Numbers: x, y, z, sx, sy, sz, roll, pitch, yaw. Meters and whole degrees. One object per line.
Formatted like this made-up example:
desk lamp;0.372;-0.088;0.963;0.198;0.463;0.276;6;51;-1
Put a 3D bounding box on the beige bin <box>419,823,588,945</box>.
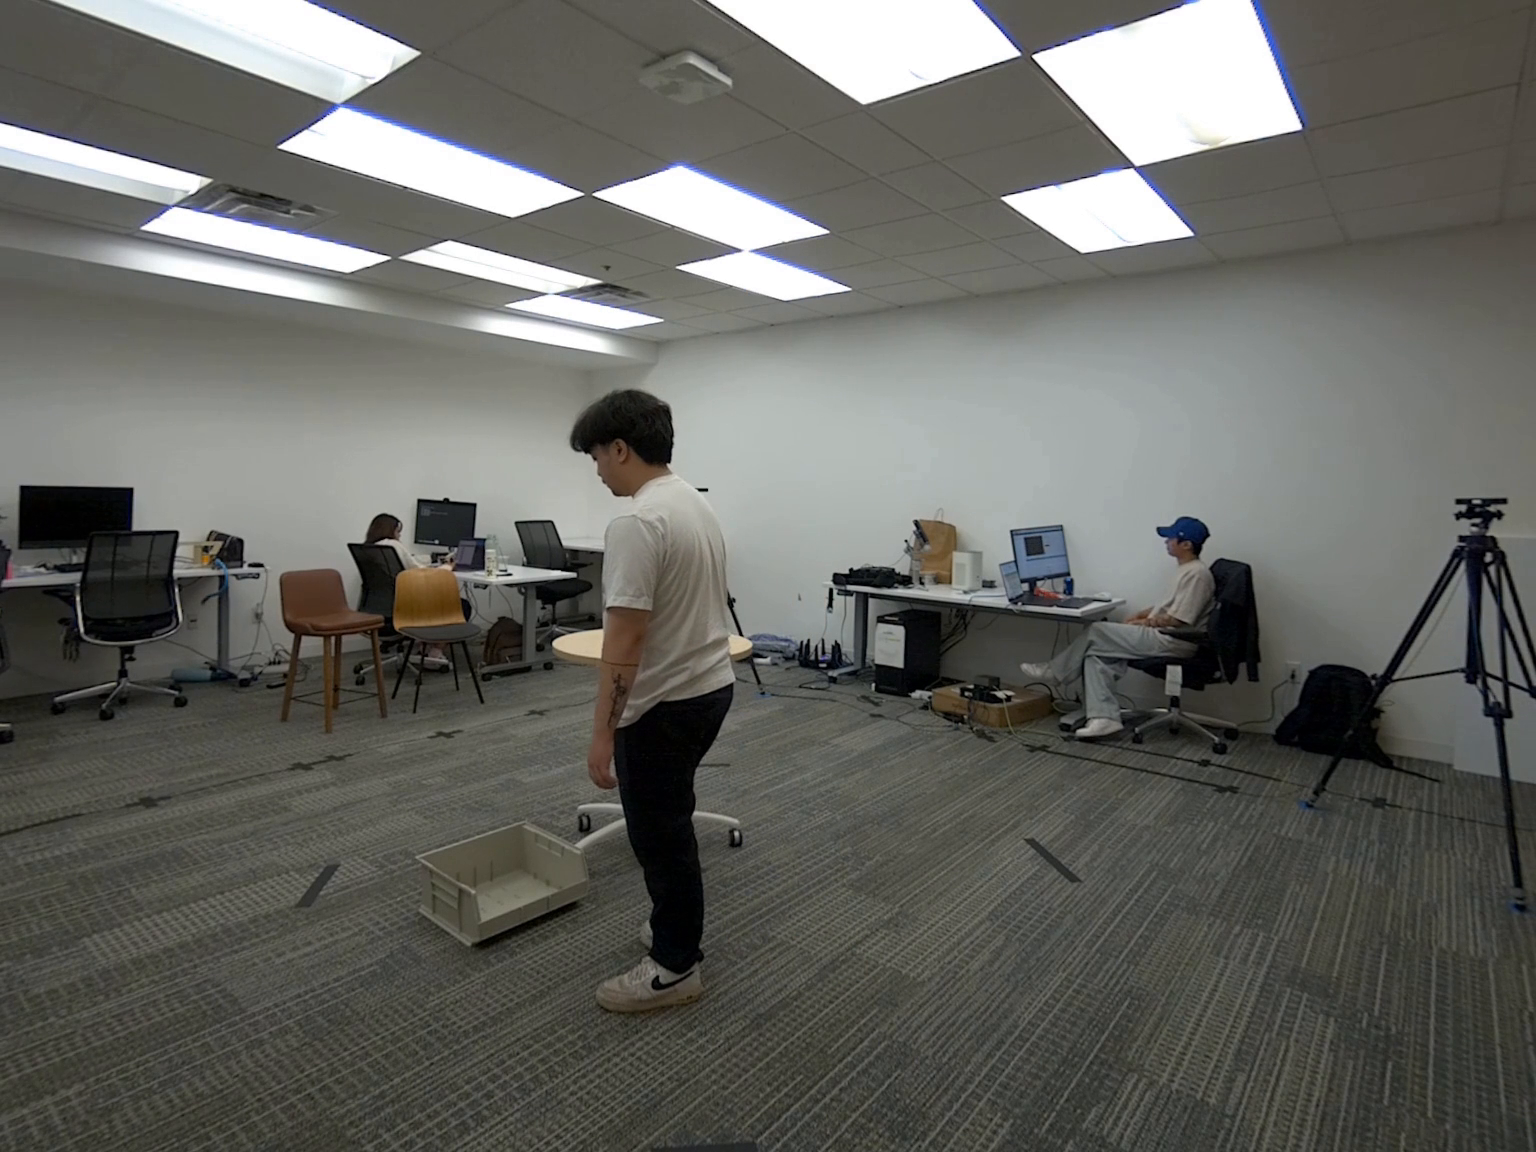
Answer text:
beige bin;-0.880;1.002;2.792;0.390;0.188;0.410;4;6;41
